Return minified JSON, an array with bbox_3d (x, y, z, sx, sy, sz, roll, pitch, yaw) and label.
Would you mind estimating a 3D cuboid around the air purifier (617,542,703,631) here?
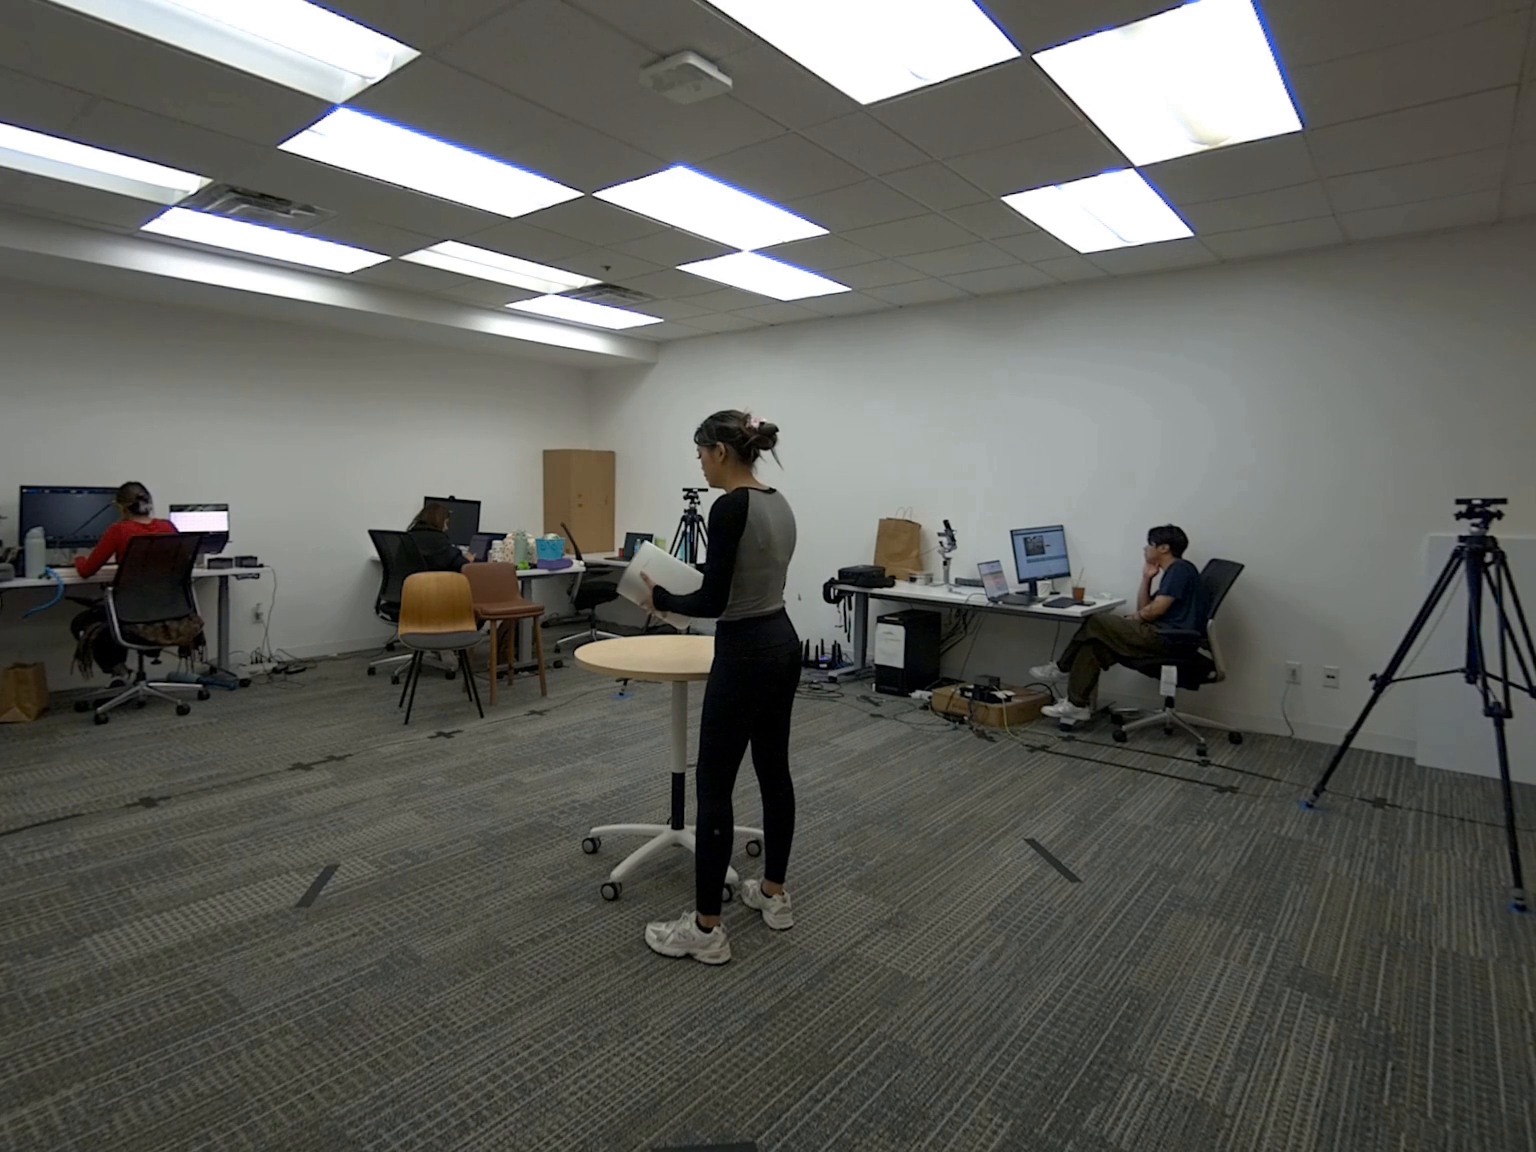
[{"bbox_3d":[-0.346,0.029,2.787,0.265,0.172,0.170,30,-30,-1],"label":"air purifier"}]
